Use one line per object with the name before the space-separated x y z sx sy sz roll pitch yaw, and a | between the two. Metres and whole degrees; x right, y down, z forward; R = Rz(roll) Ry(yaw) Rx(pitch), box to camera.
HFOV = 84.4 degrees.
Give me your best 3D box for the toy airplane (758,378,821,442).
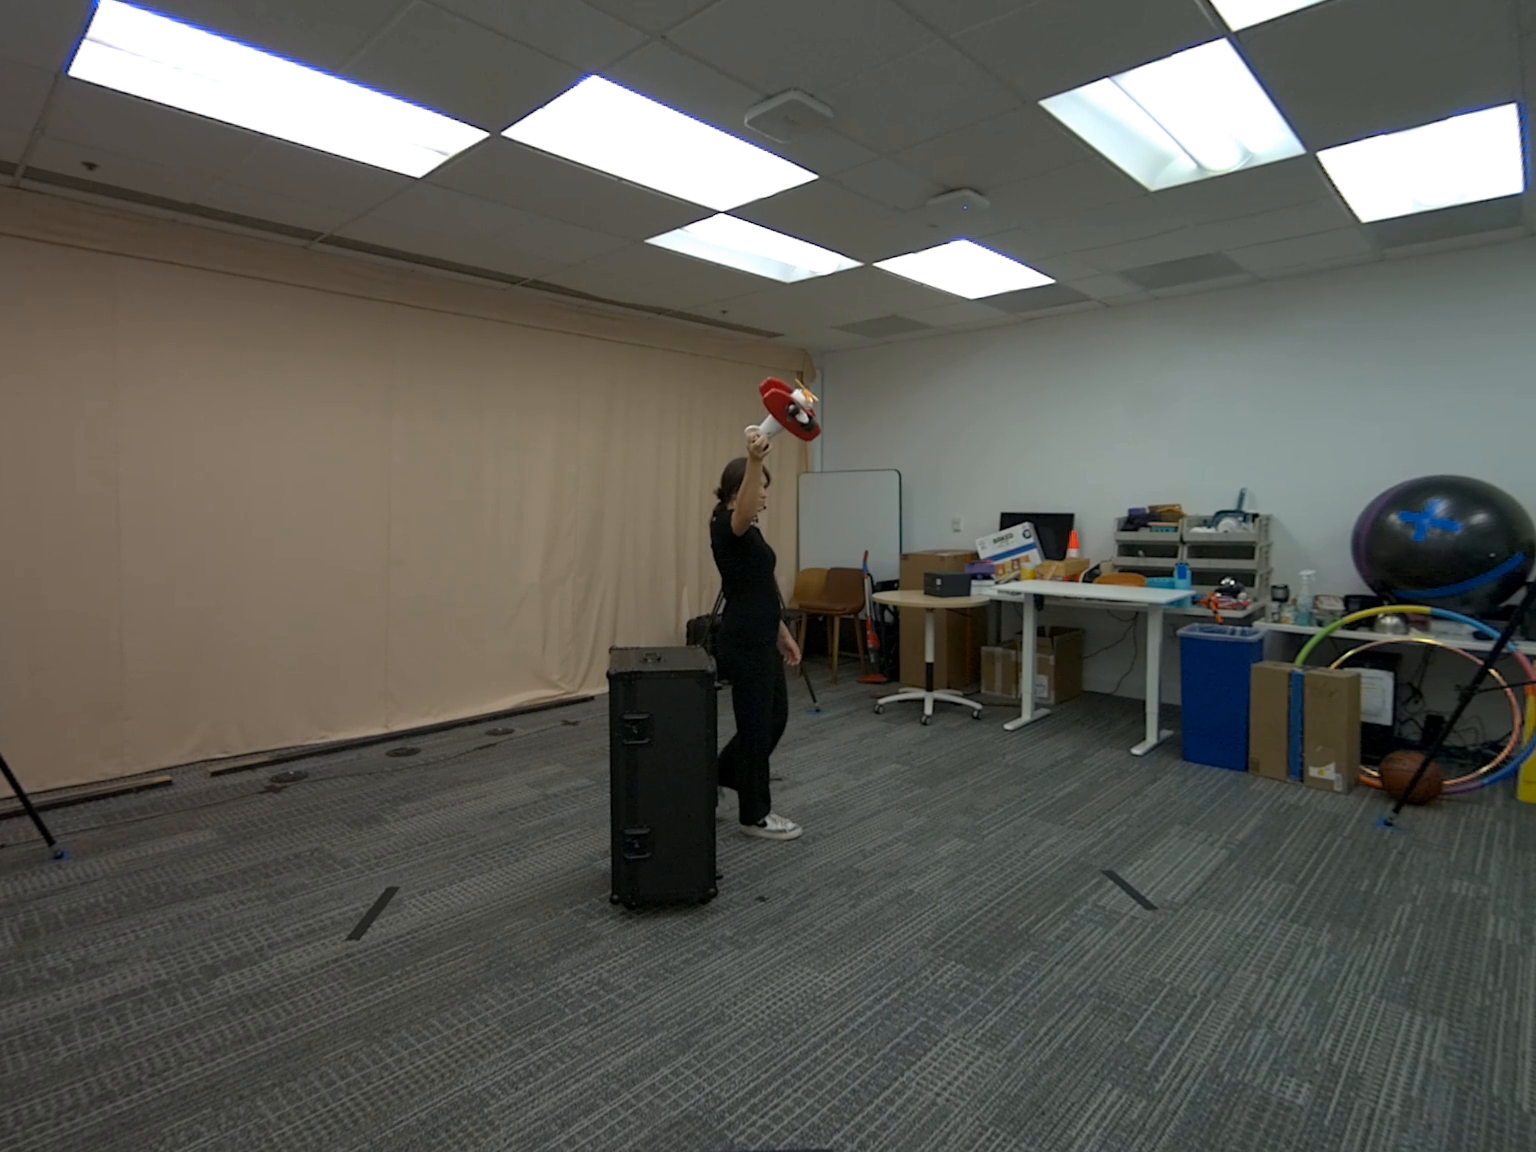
toy airplane | 0.040 -0.542 2.892 0.263 0.159 0.244 -6 -41 14
